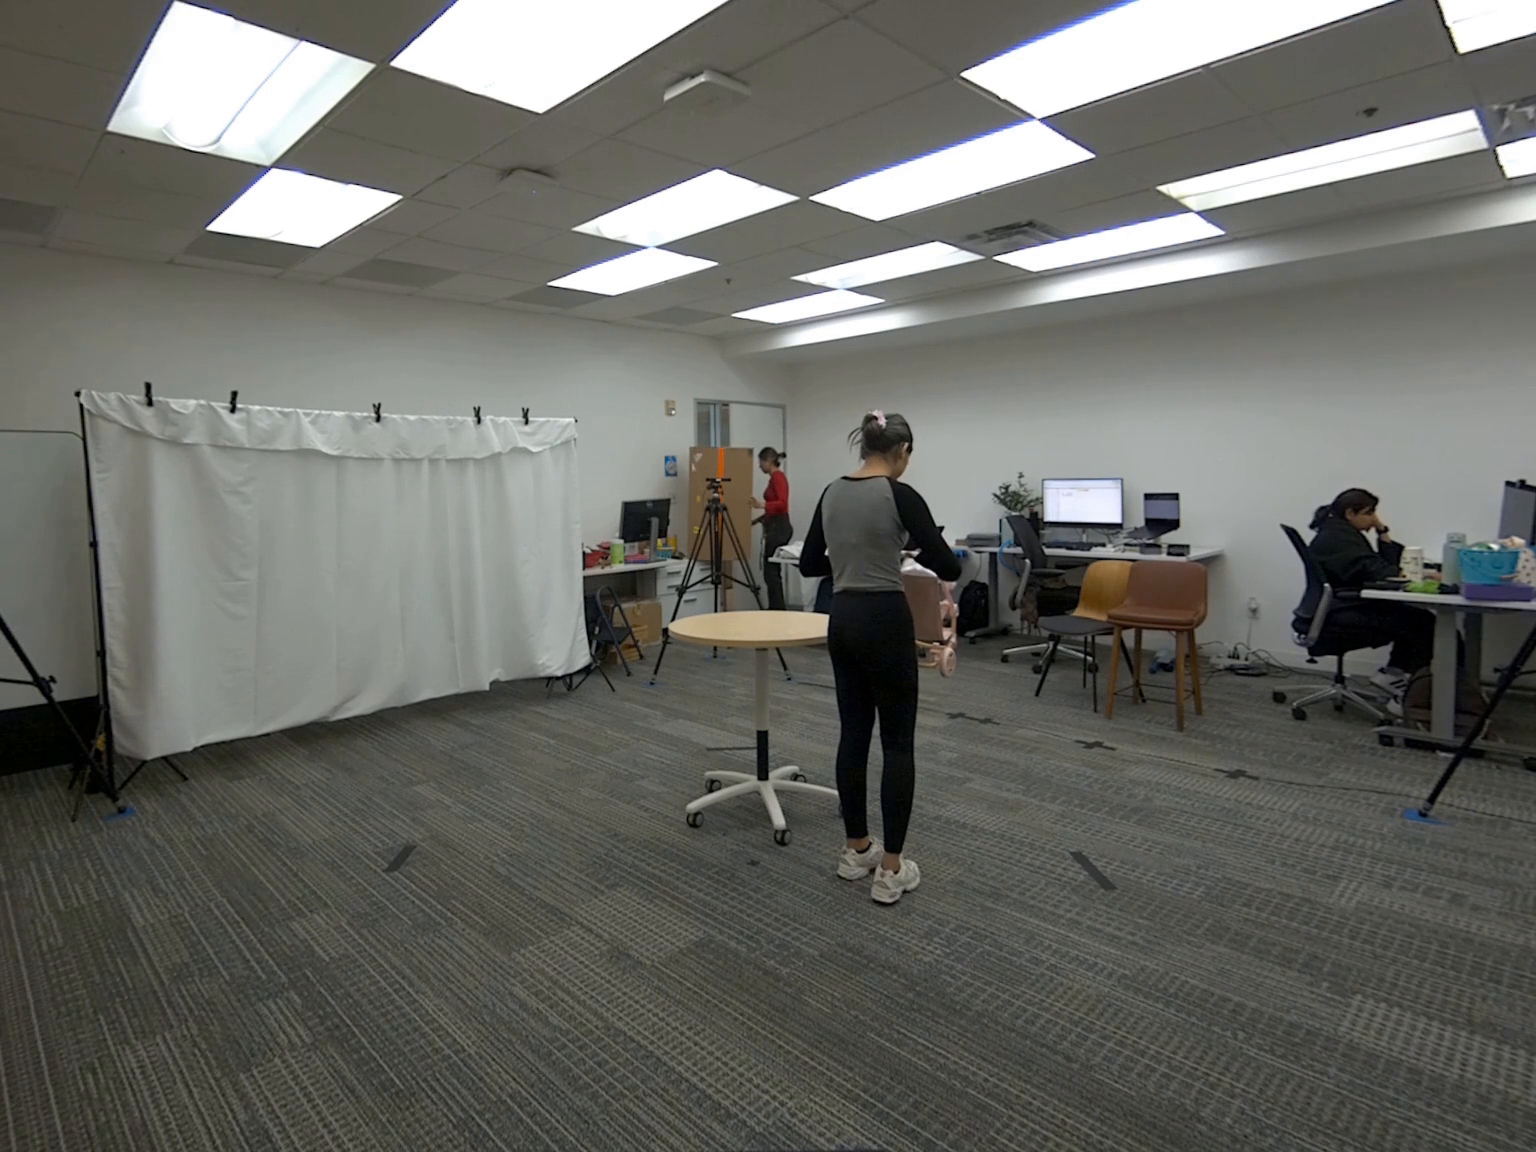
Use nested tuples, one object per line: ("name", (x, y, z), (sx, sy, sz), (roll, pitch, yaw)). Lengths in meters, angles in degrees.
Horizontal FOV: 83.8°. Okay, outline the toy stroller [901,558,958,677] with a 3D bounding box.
("toy stroller", (0.596, 0.139, 3.254), (0.289, 0.530, 0.335), (3, 12, 33))
